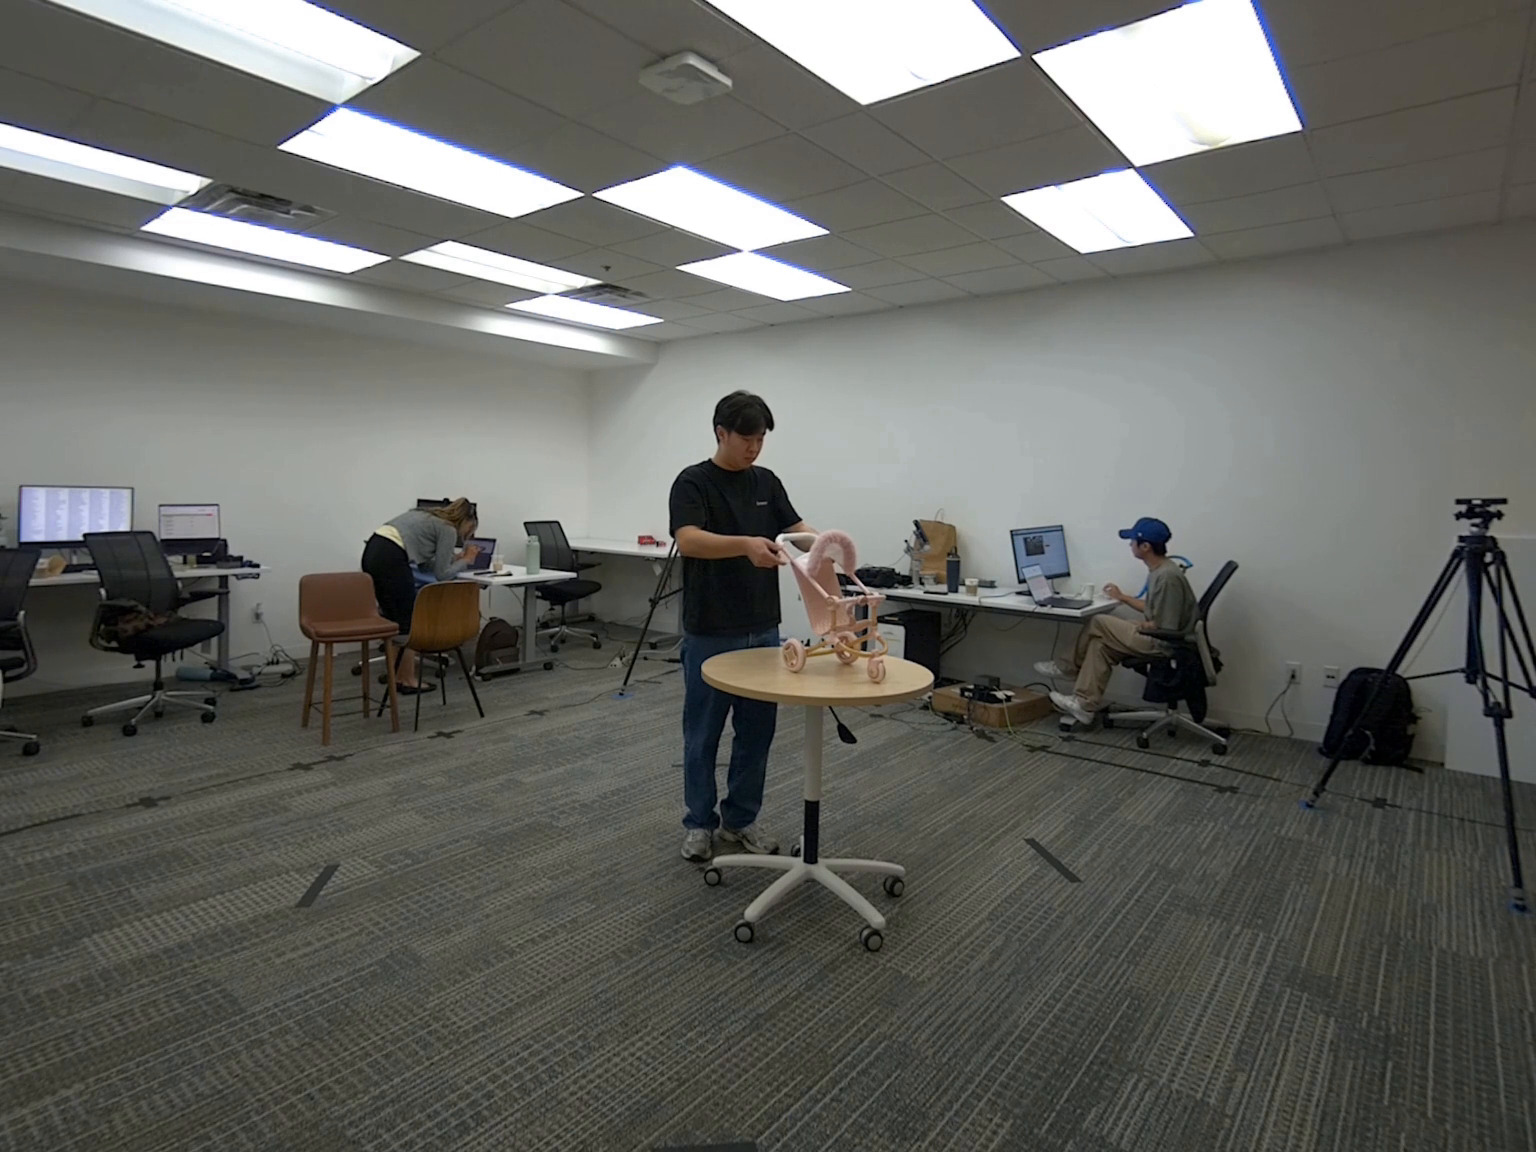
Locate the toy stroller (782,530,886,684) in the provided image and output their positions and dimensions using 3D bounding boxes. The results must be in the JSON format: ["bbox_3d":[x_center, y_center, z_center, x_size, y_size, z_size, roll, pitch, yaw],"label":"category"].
[{"bbox_3d":[0.208,0.087,2.797,0.273,0.541,0.347,-1,-11,-33],"label":"toy stroller"}]
